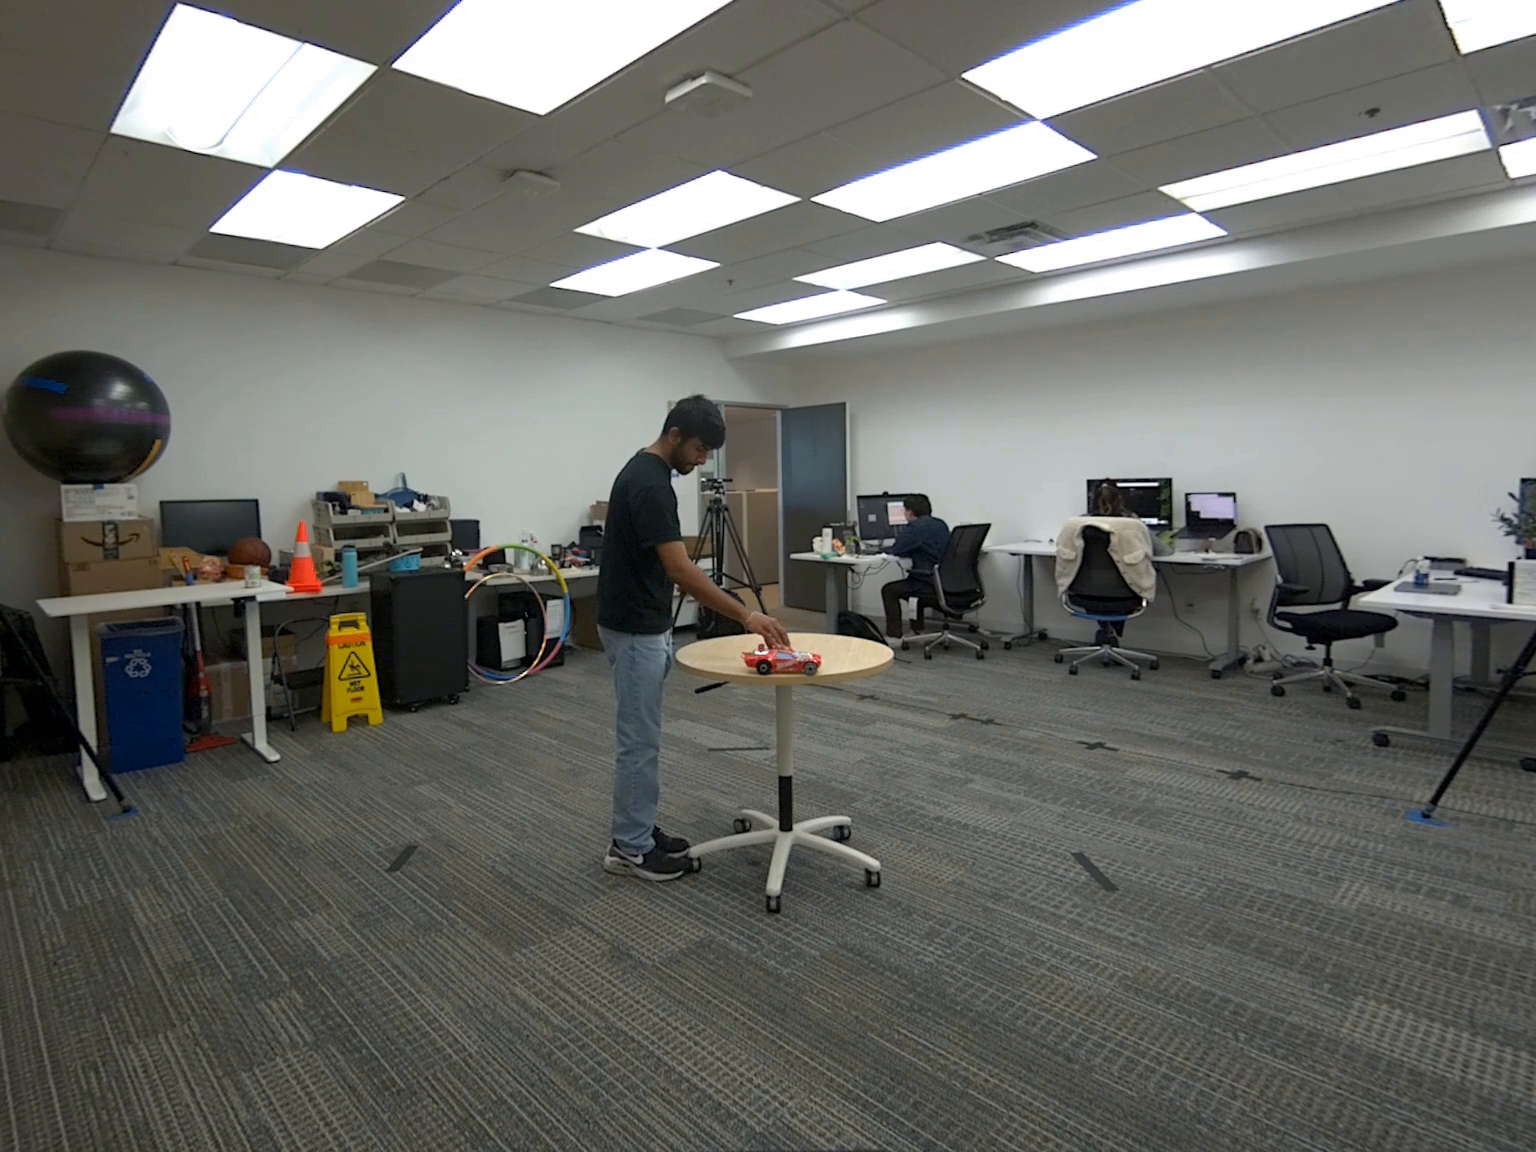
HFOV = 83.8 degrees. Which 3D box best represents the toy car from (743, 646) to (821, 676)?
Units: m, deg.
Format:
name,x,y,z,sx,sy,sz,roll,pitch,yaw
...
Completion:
name,x,y,z,sx,sy,sz,roll,pitch,yaw
toy car,0.044,0.273,2.705,0.256,0.083,0.130,11,5,5
